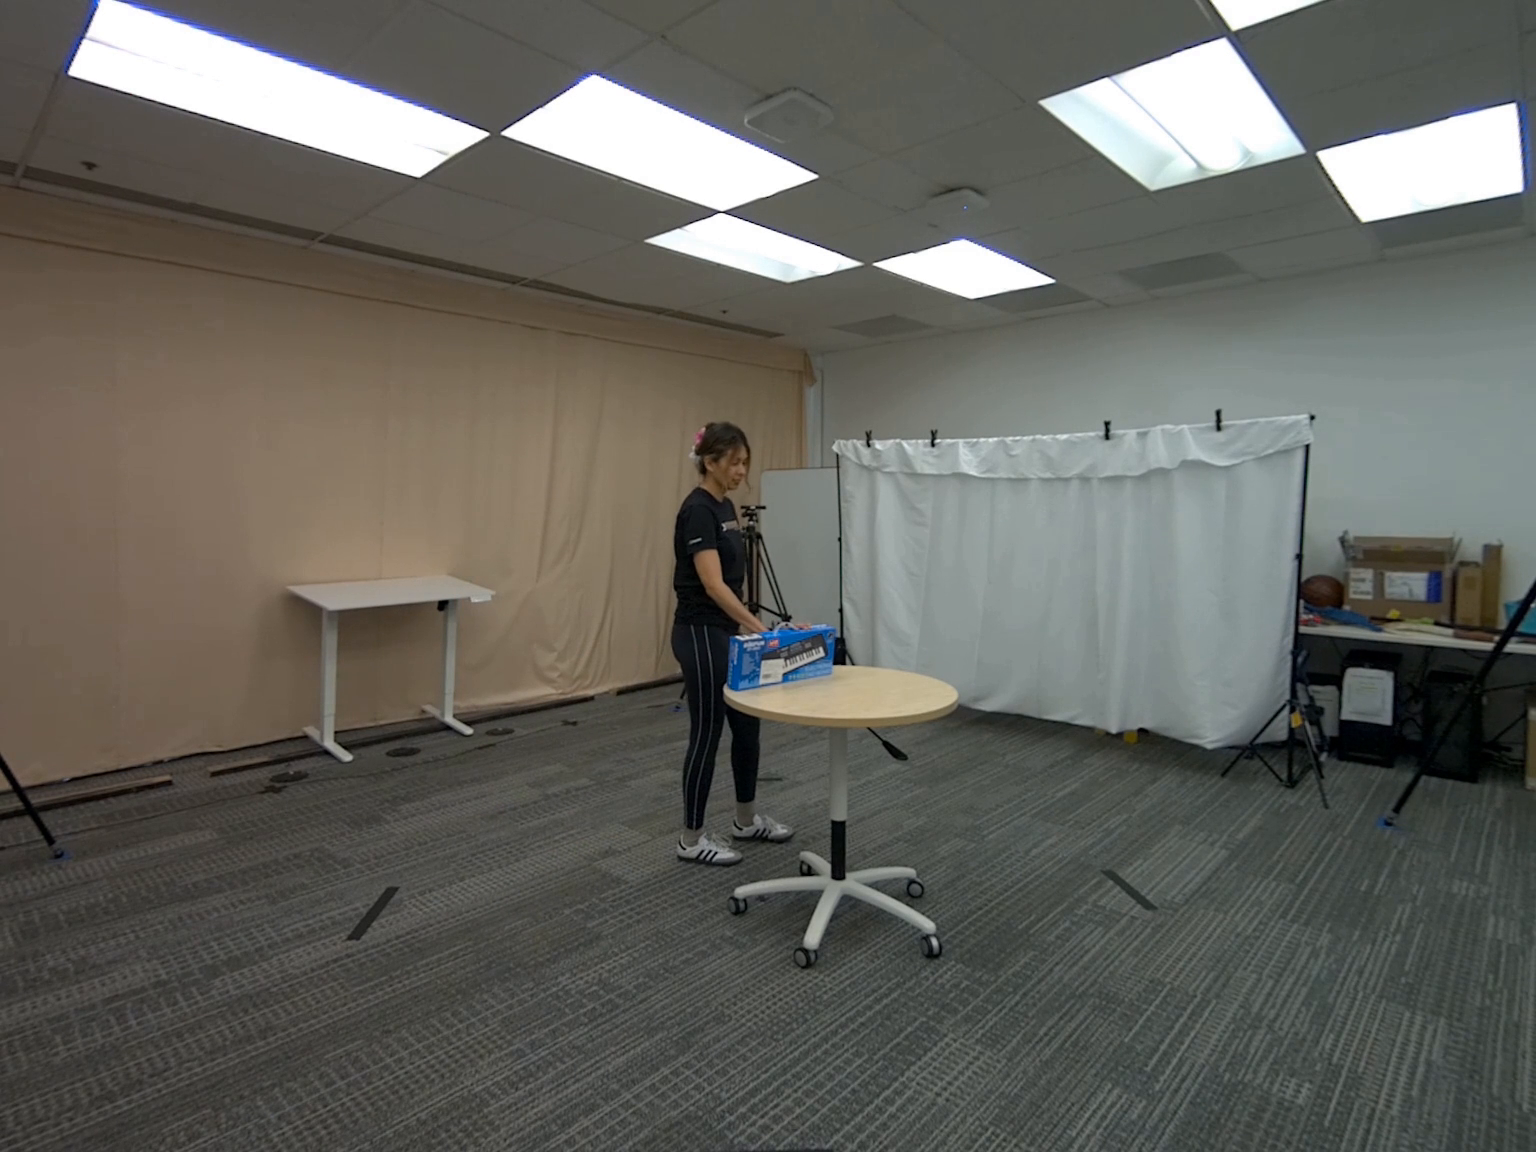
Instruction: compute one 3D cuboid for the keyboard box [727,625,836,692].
[{"bbox_3d":[0.058,0.279,2.896,0.424,0.175,0.061,-4,12,-37],"label":"keyboard box"}]
